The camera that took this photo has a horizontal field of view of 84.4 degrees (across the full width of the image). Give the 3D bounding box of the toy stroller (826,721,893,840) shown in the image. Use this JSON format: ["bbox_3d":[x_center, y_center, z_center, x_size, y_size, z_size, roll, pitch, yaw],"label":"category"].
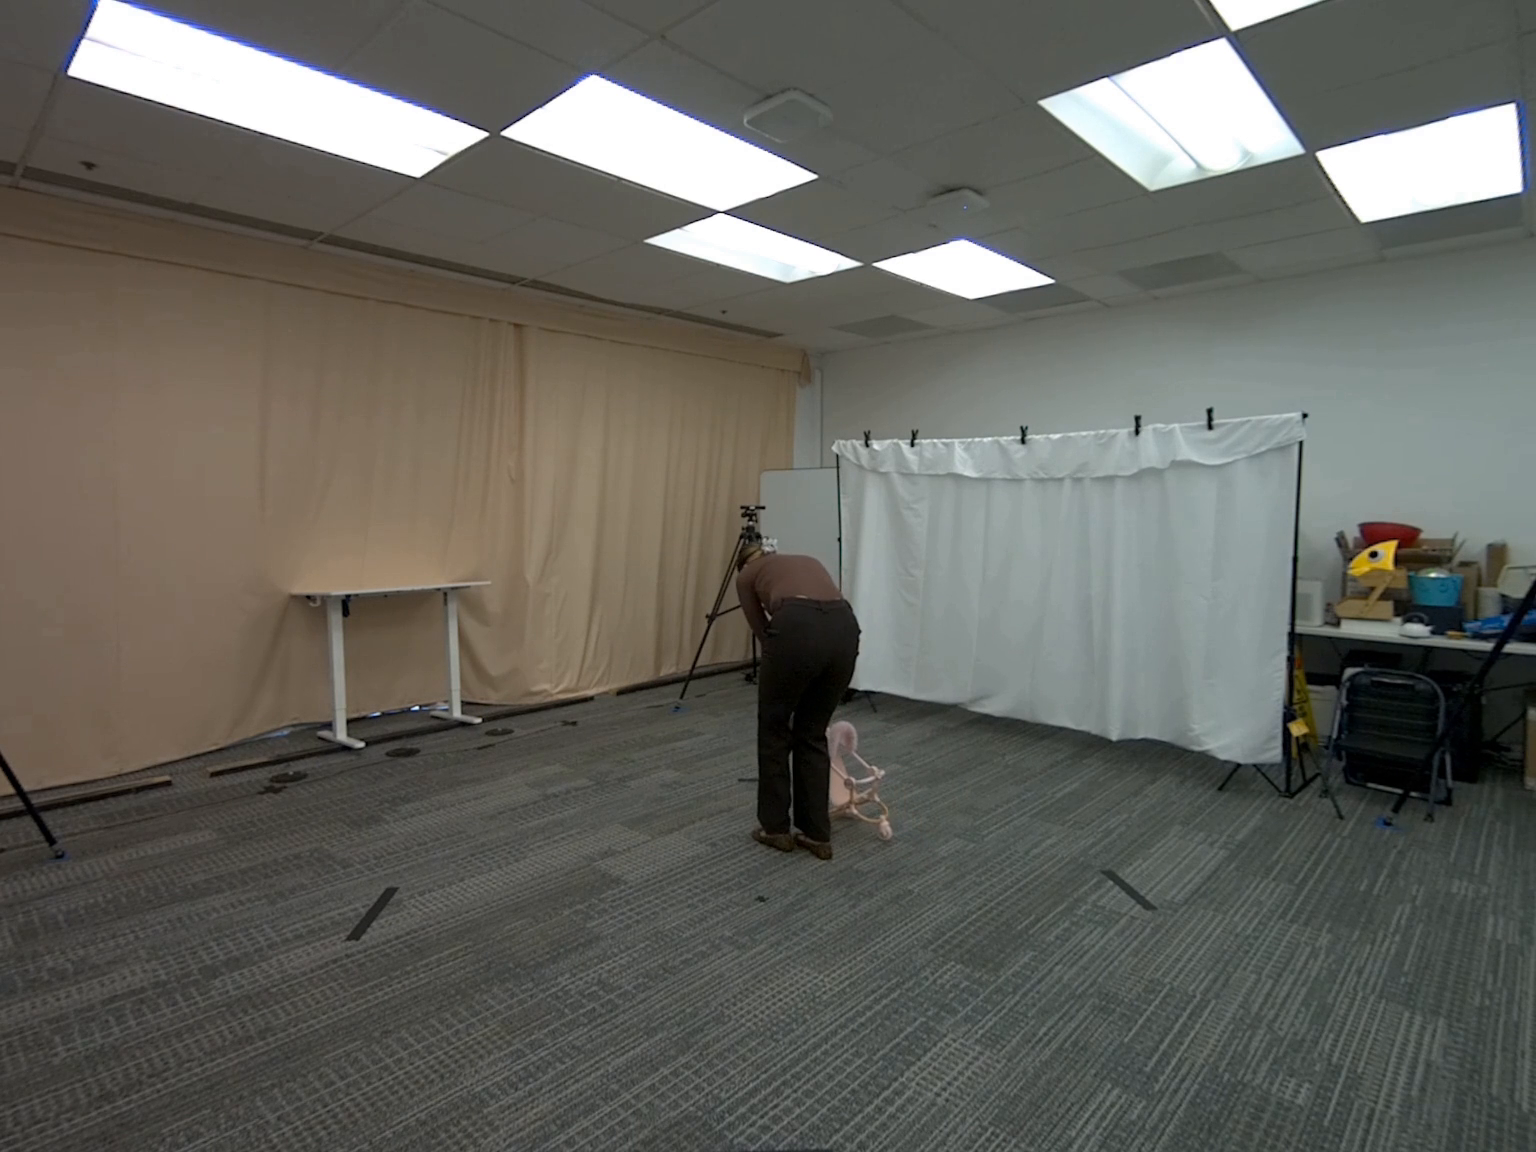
[{"bbox_3d":[0.338,0.866,3.615,0.349,0.538,0.273,-19,-9,42],"label":"toy stroller"}]
